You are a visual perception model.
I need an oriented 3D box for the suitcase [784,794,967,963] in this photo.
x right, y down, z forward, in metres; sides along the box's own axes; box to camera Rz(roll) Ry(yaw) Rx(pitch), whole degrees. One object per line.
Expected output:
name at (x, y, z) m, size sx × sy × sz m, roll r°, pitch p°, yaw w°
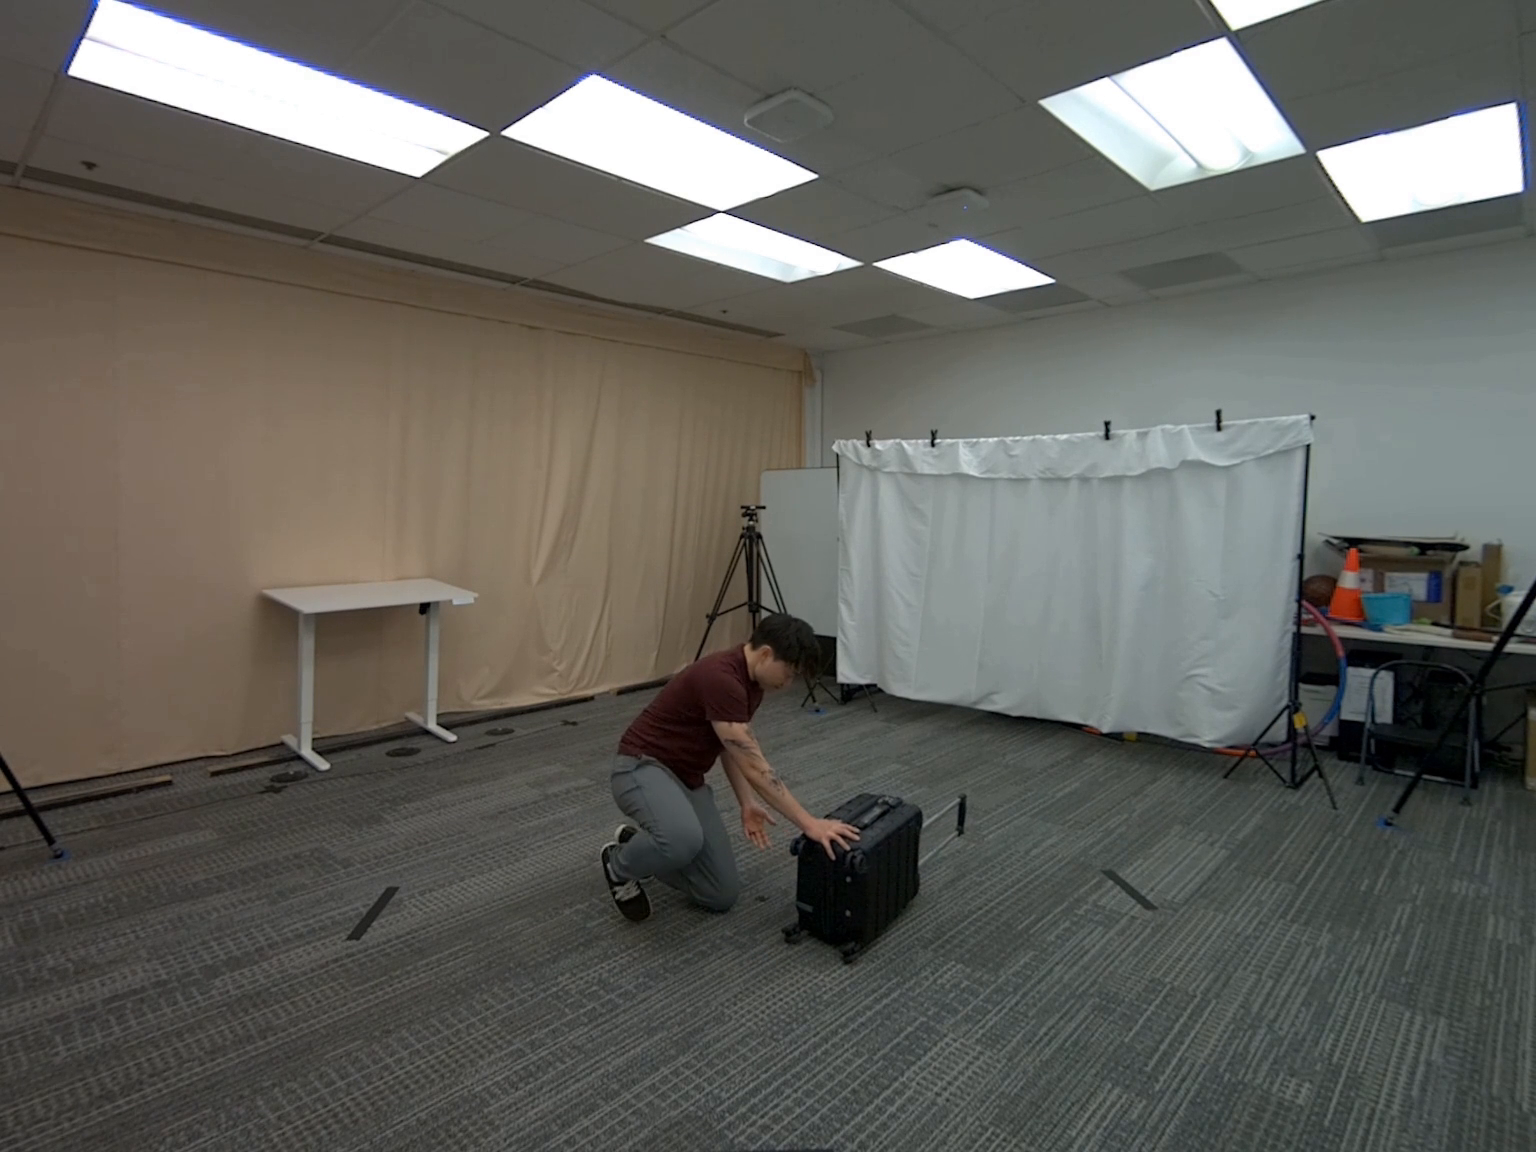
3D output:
suitcase at (0.427, 0.956, 2.977) m, size 0.265 × 0.383 × 0.951 m, roll 5°, pitch 7°, yaw 33°
